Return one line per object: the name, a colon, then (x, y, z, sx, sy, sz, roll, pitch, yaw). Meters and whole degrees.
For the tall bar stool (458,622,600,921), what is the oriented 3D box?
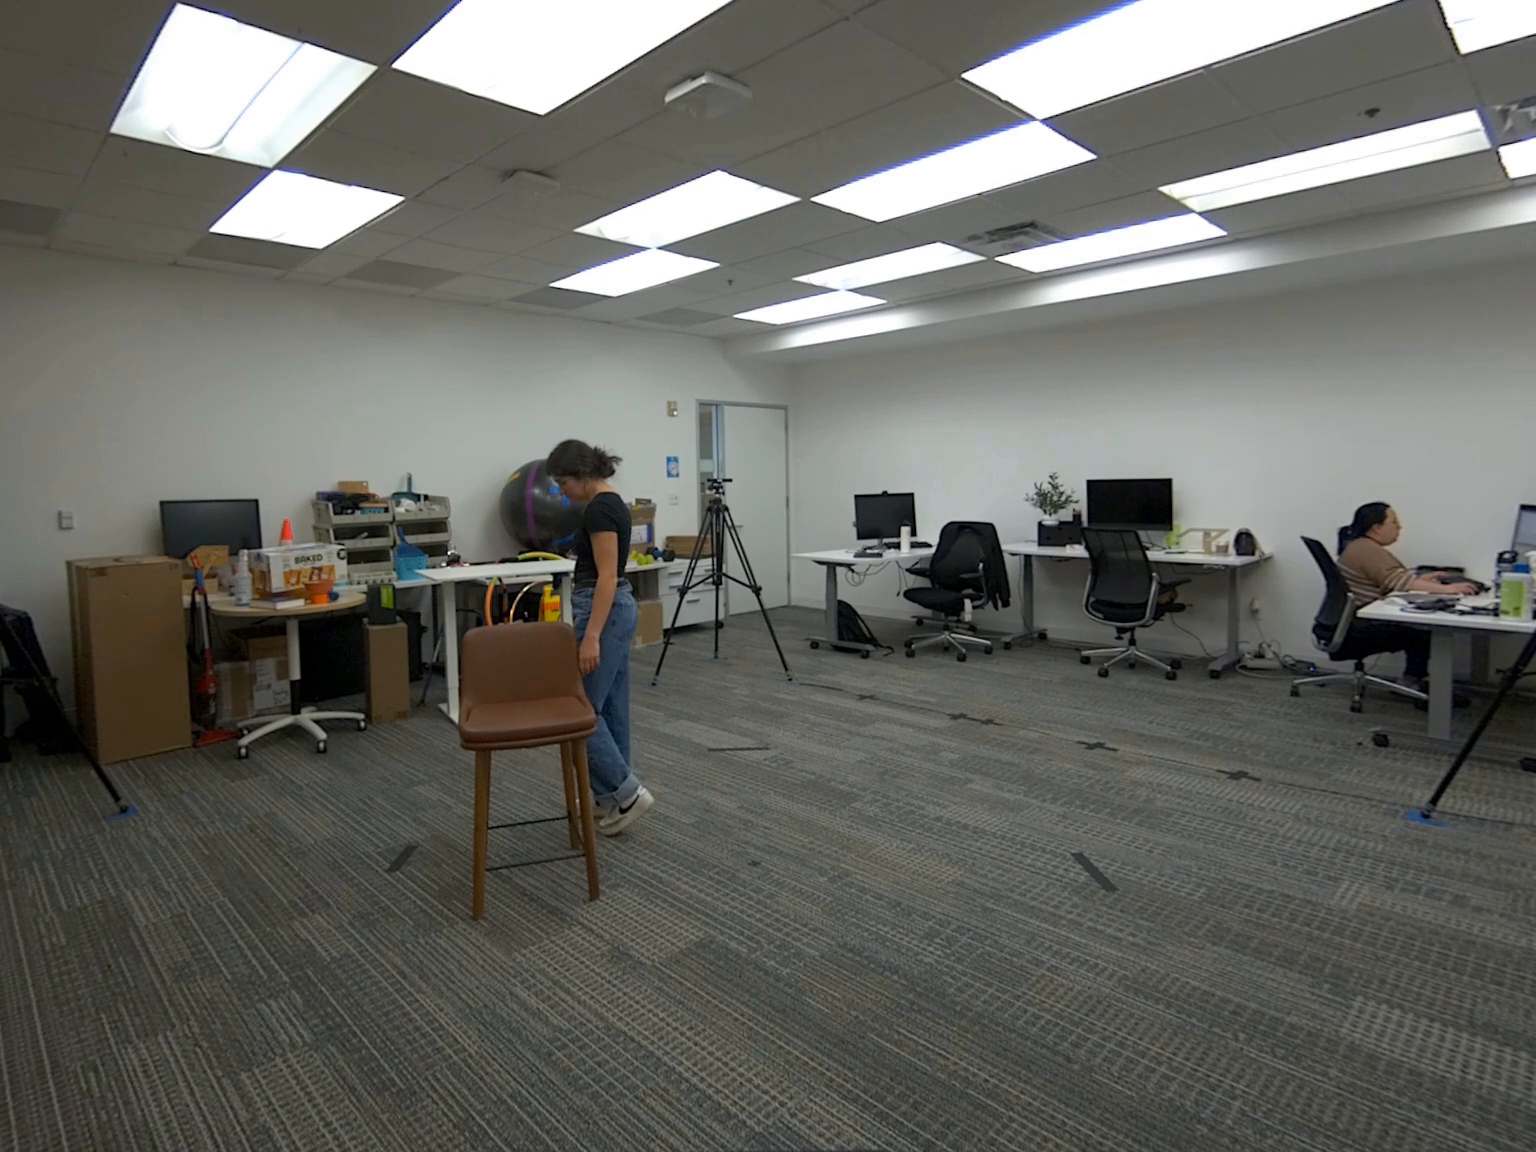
tall bar stool: (-0.844, 0.639, 2.989, 0.449, 0.888, 0.477, -3, 3, -19)
